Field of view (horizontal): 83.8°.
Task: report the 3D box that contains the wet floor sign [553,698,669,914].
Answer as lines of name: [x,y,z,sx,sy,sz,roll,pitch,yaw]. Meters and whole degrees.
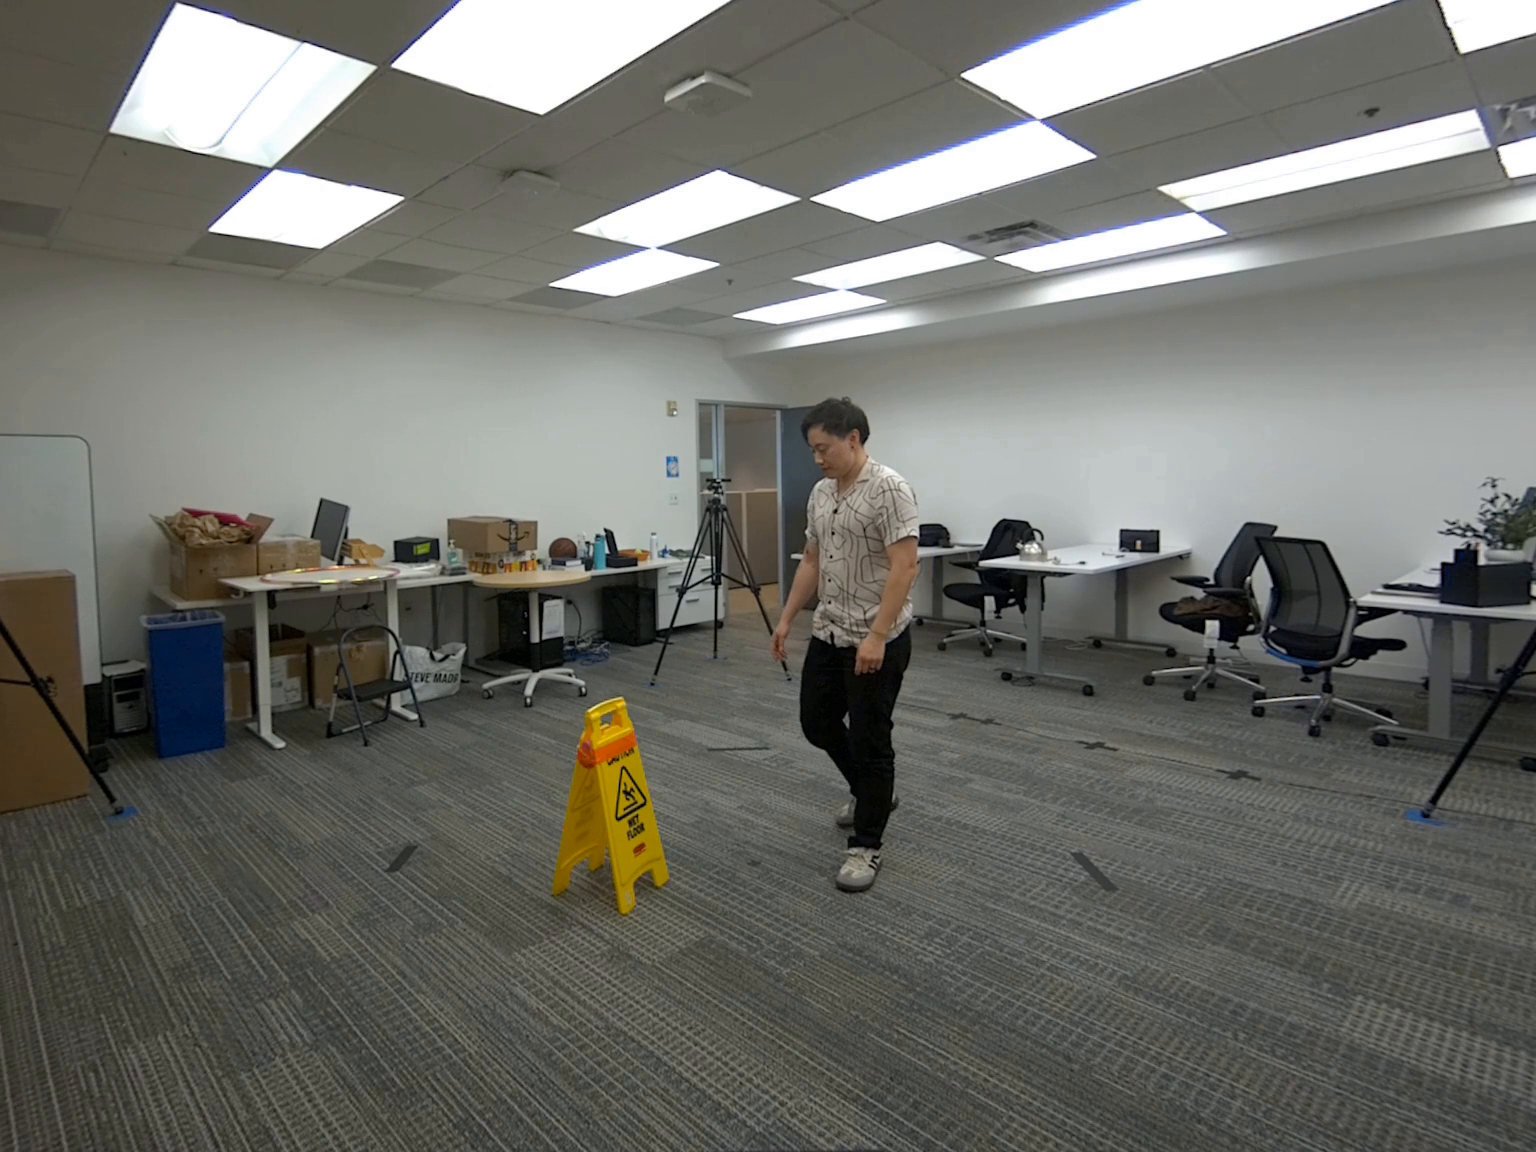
wet floor sign: [-0.538,0.751,2.915,0.297,0.643,0.276,2,6,28]
